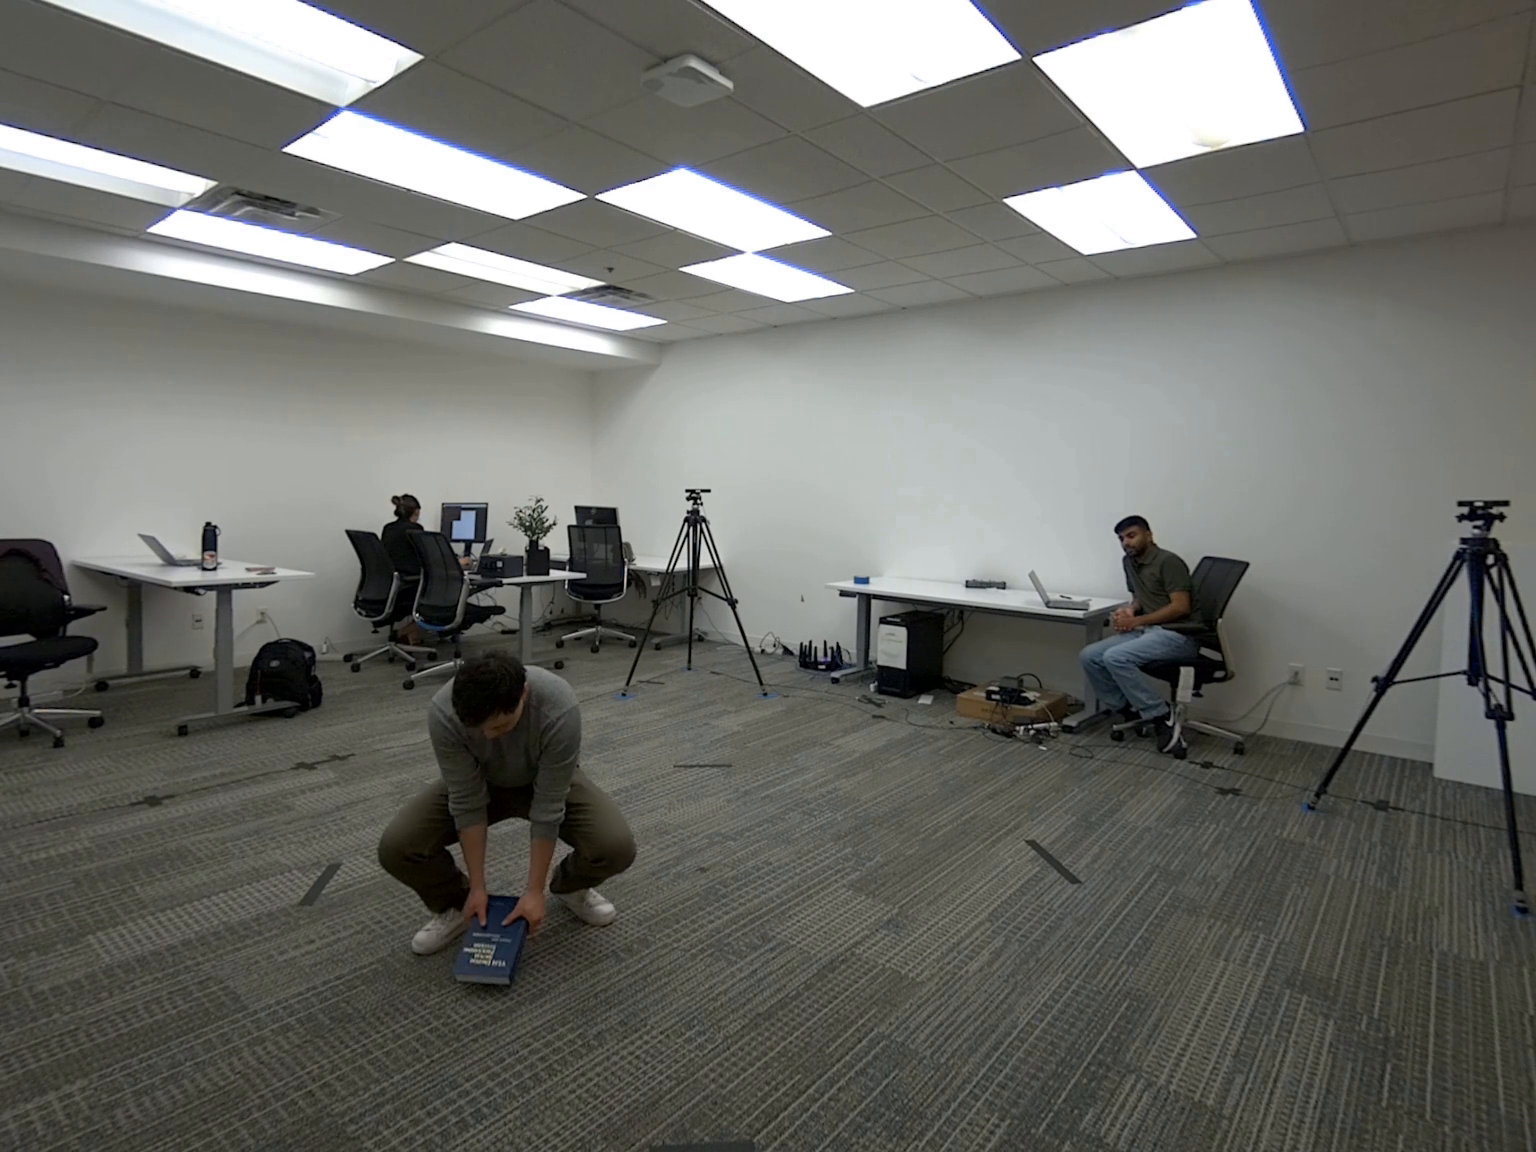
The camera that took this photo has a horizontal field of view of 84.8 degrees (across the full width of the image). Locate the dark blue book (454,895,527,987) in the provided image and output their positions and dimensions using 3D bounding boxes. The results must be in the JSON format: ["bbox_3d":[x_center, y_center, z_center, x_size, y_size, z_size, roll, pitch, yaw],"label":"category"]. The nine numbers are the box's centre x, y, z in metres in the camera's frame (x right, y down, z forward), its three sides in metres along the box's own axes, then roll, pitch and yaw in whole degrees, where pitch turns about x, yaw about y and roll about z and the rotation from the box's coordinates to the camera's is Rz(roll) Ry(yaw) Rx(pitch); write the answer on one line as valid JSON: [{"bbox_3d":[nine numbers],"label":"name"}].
[{"bbox_3d":[-0.776,1.032,2.396,0.165,0.044,0.248,5,31,10],"label":"dark blue book"}]
